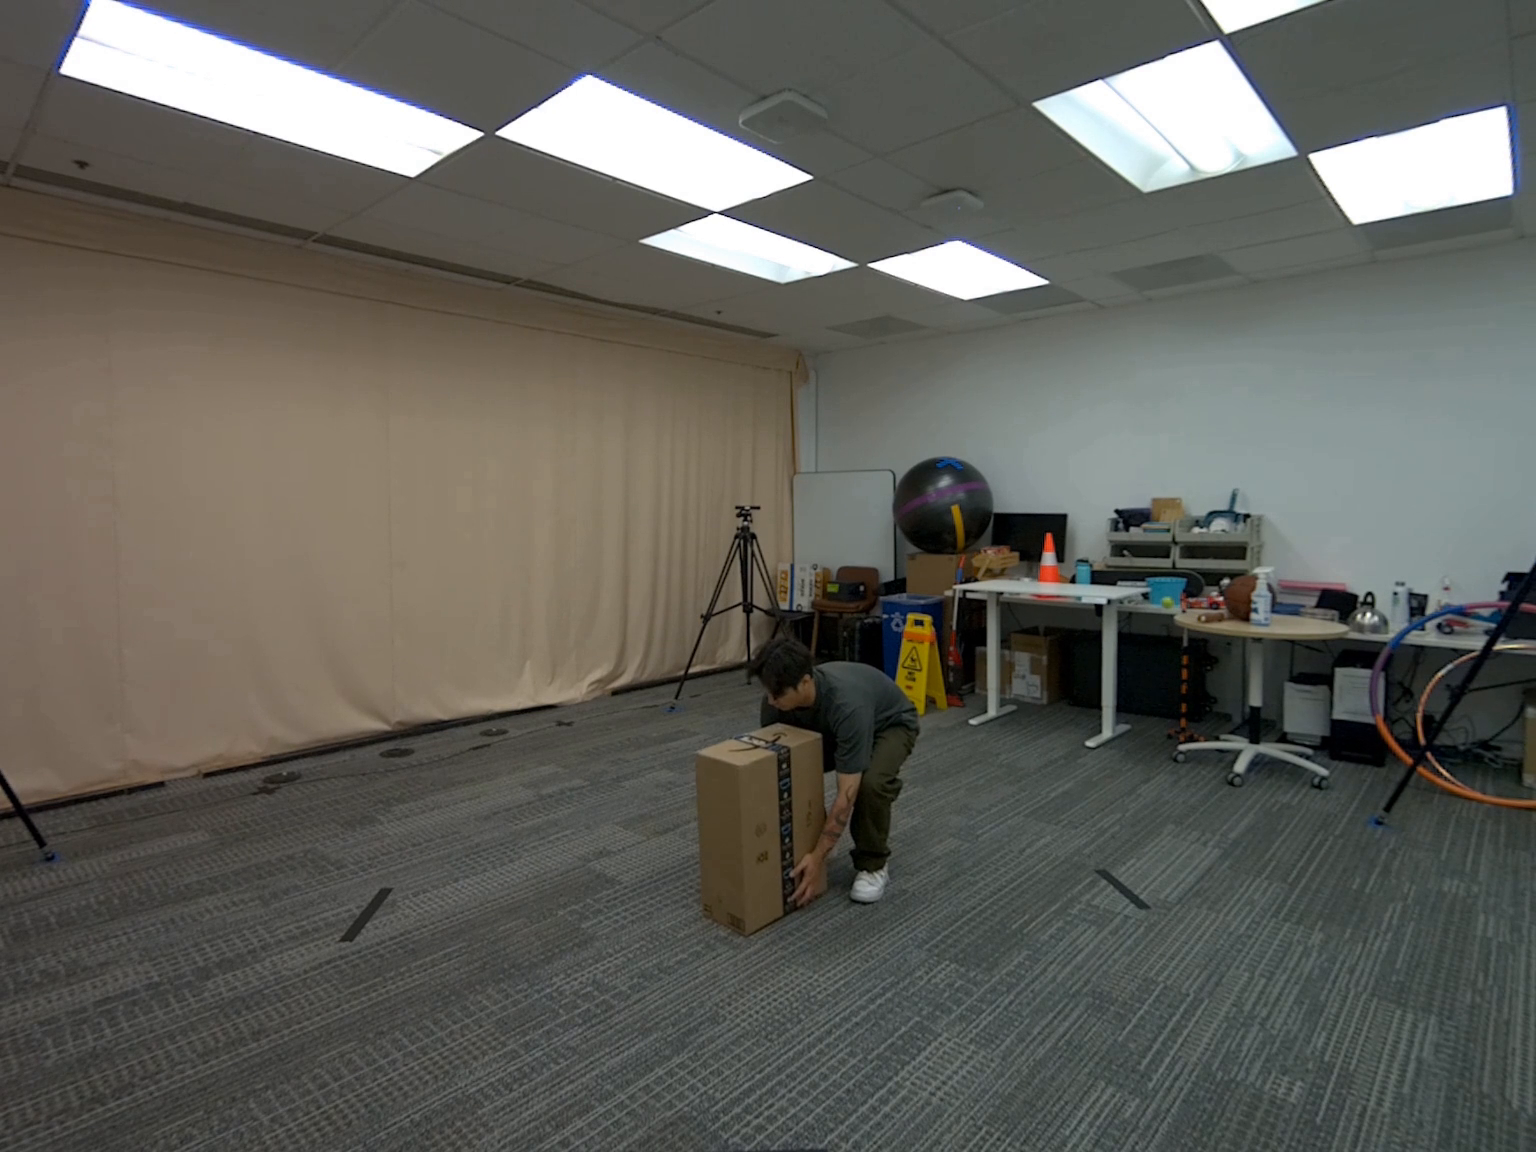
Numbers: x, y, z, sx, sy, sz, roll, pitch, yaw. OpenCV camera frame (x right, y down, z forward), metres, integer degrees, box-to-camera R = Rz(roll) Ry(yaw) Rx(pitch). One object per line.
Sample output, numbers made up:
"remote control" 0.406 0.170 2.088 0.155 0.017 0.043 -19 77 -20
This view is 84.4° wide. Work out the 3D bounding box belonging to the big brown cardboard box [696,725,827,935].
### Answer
"big brown cardboard box" -0.017 0.851 2.909 0.405 0.587 0.241 -6 5 -44
